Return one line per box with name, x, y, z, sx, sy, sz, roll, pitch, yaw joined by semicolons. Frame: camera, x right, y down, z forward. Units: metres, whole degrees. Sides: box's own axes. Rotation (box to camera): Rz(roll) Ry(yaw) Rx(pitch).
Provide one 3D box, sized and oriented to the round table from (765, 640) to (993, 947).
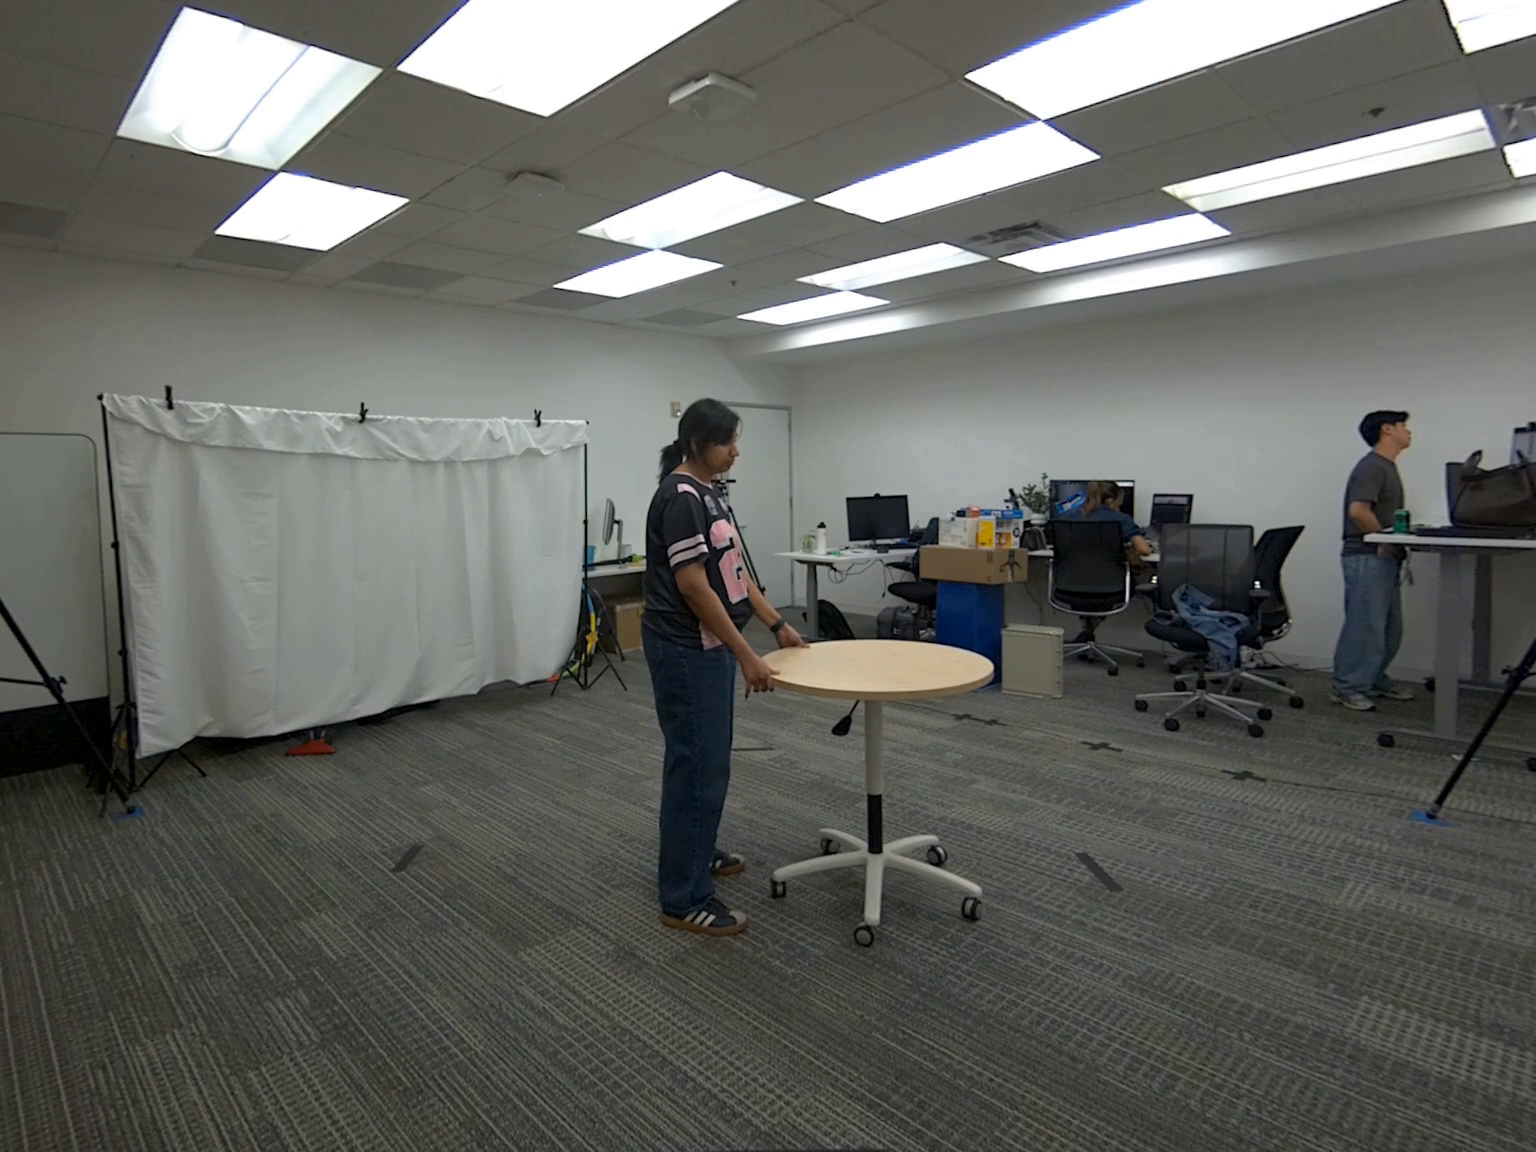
round table;0.363;0.676;2.856;0.763;0.791;0.768;-2;5;-2
